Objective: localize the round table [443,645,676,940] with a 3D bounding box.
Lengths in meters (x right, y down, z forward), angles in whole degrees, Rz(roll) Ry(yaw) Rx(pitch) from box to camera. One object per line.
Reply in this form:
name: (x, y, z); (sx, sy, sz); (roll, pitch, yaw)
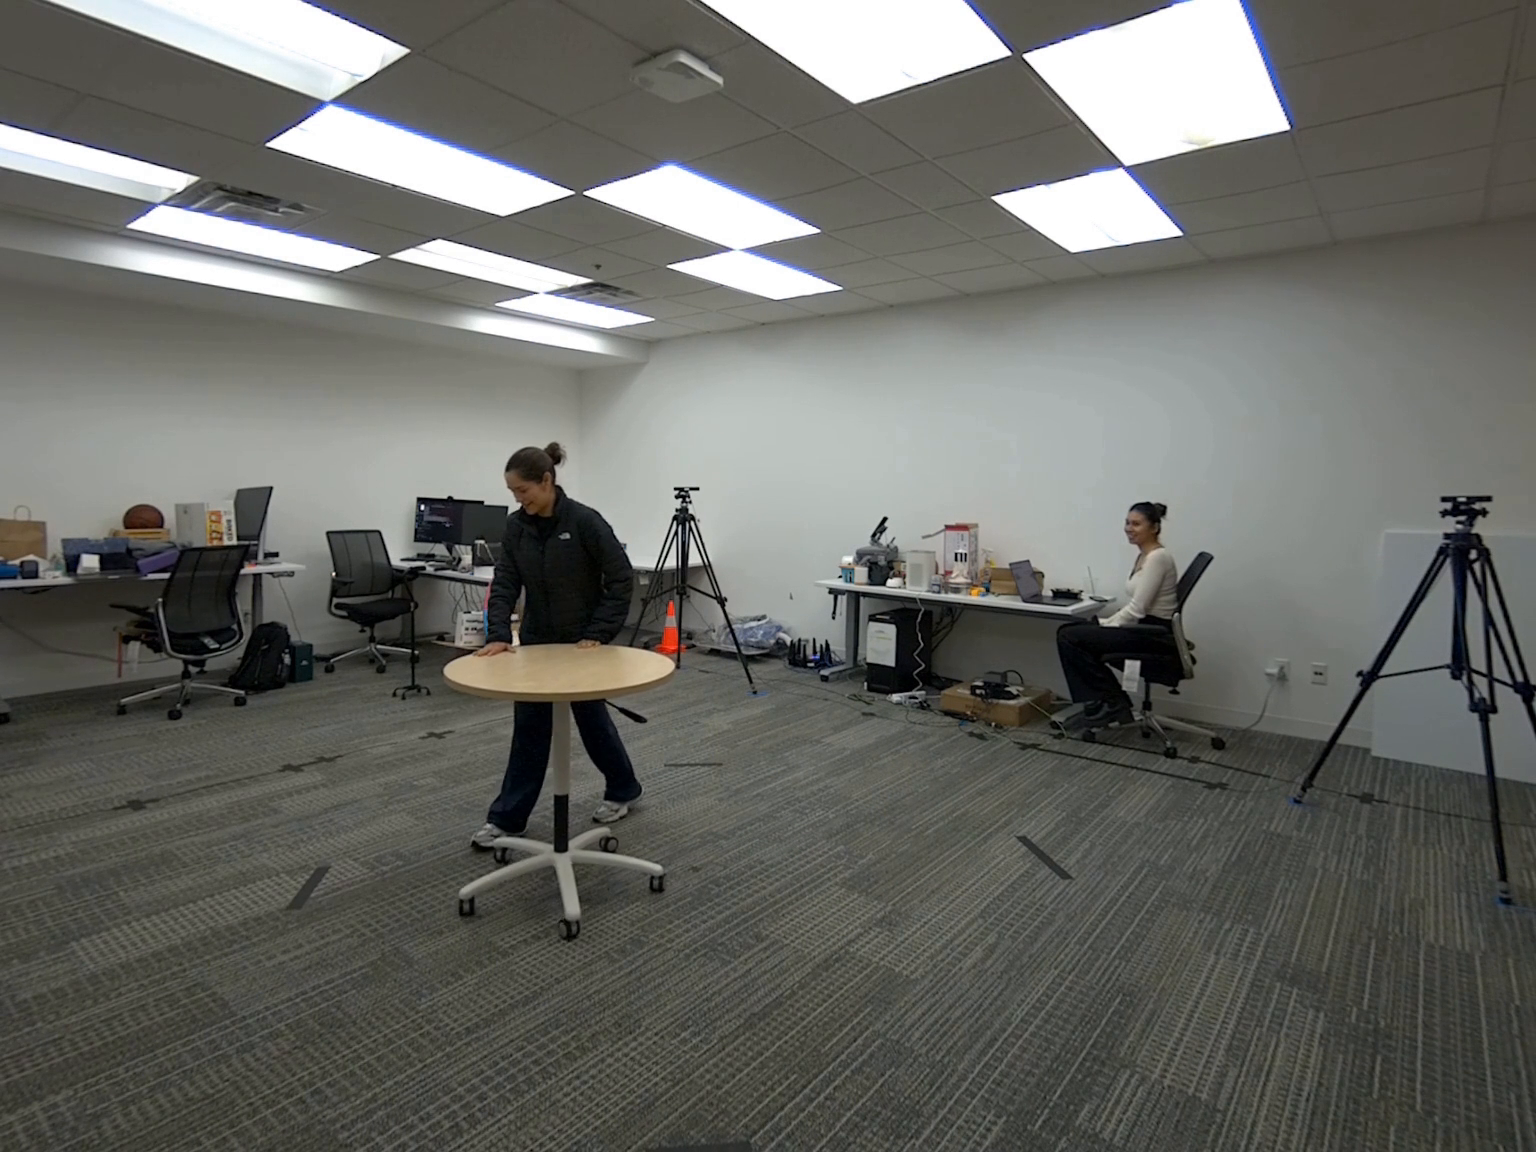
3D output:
round table: (-0.708, 0.683, 2.937); (0.784, 0.784, 0.789); (1, 4, -2)
